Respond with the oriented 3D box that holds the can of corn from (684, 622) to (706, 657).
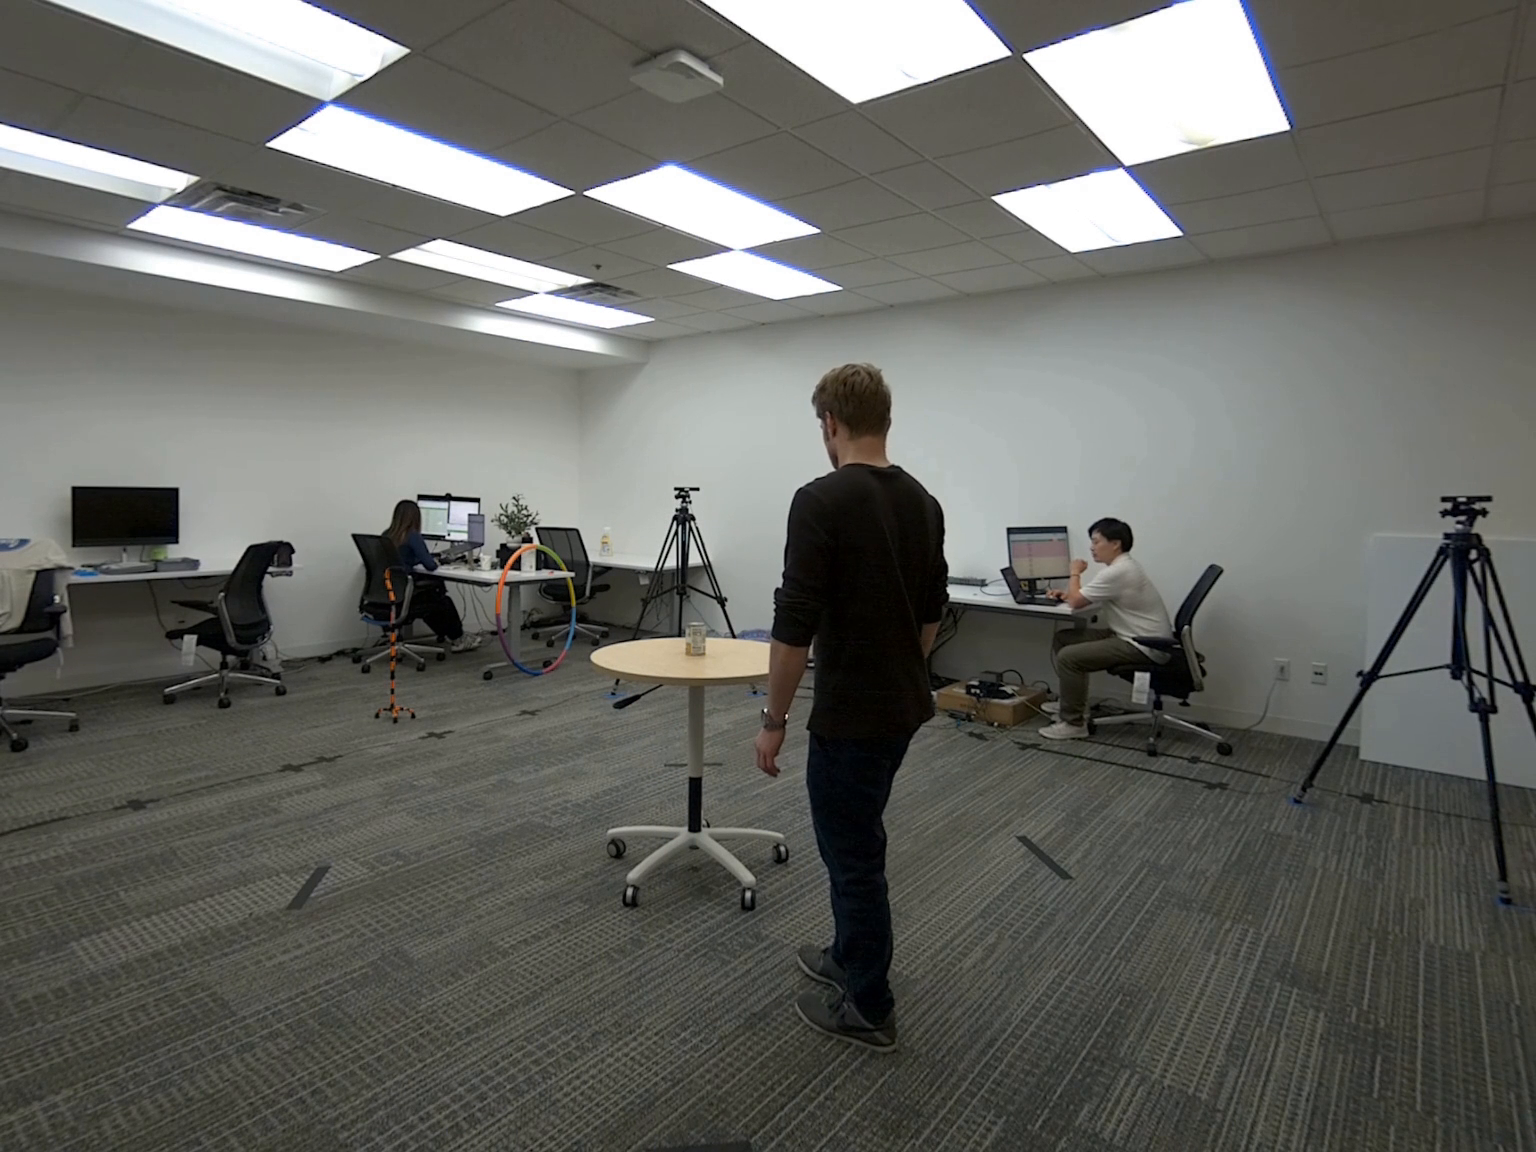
[{"bbox_3d":[-0.272,0.228,3.096,0.074,0.111,0.074,3,3,-2],"label":"can of corn"}]
